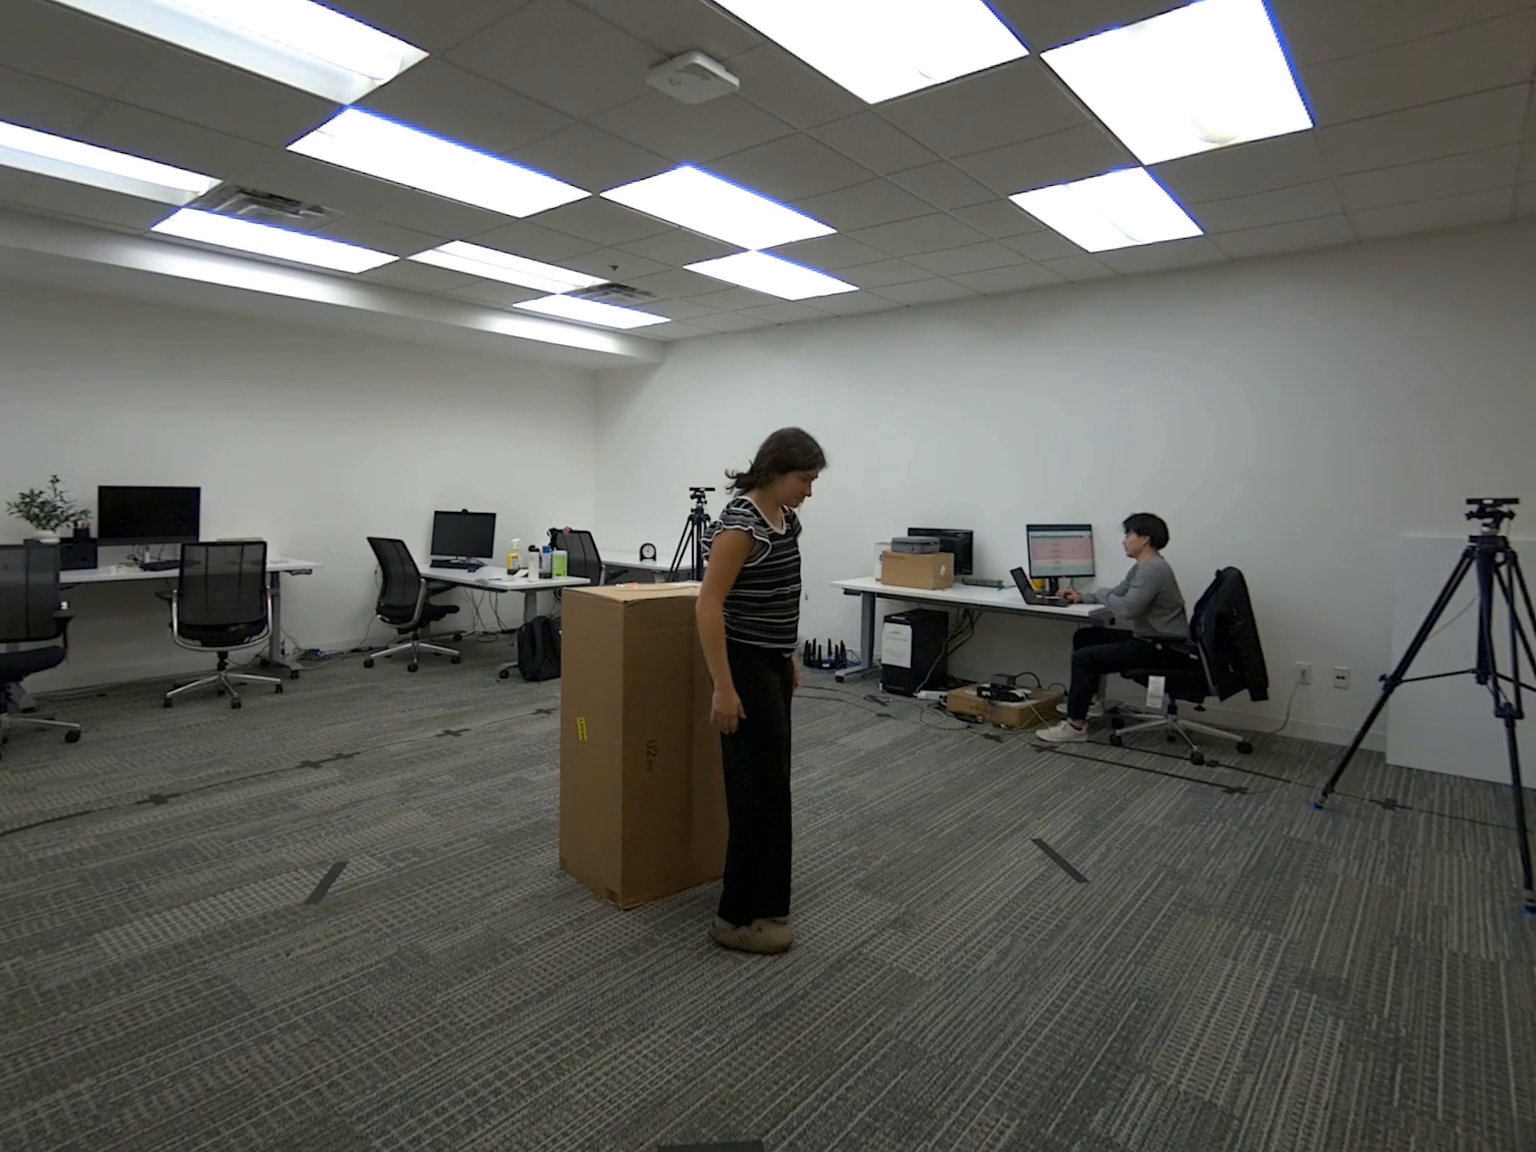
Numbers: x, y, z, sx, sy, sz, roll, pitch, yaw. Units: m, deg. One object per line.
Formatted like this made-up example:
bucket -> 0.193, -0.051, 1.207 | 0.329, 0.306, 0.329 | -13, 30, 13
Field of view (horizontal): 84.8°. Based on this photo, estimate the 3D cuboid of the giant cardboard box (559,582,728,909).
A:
giant cardboard box -> -0.415, 0.554, 3.100 | 0.560, 1.023, 0.440 | -1, 4, -41
